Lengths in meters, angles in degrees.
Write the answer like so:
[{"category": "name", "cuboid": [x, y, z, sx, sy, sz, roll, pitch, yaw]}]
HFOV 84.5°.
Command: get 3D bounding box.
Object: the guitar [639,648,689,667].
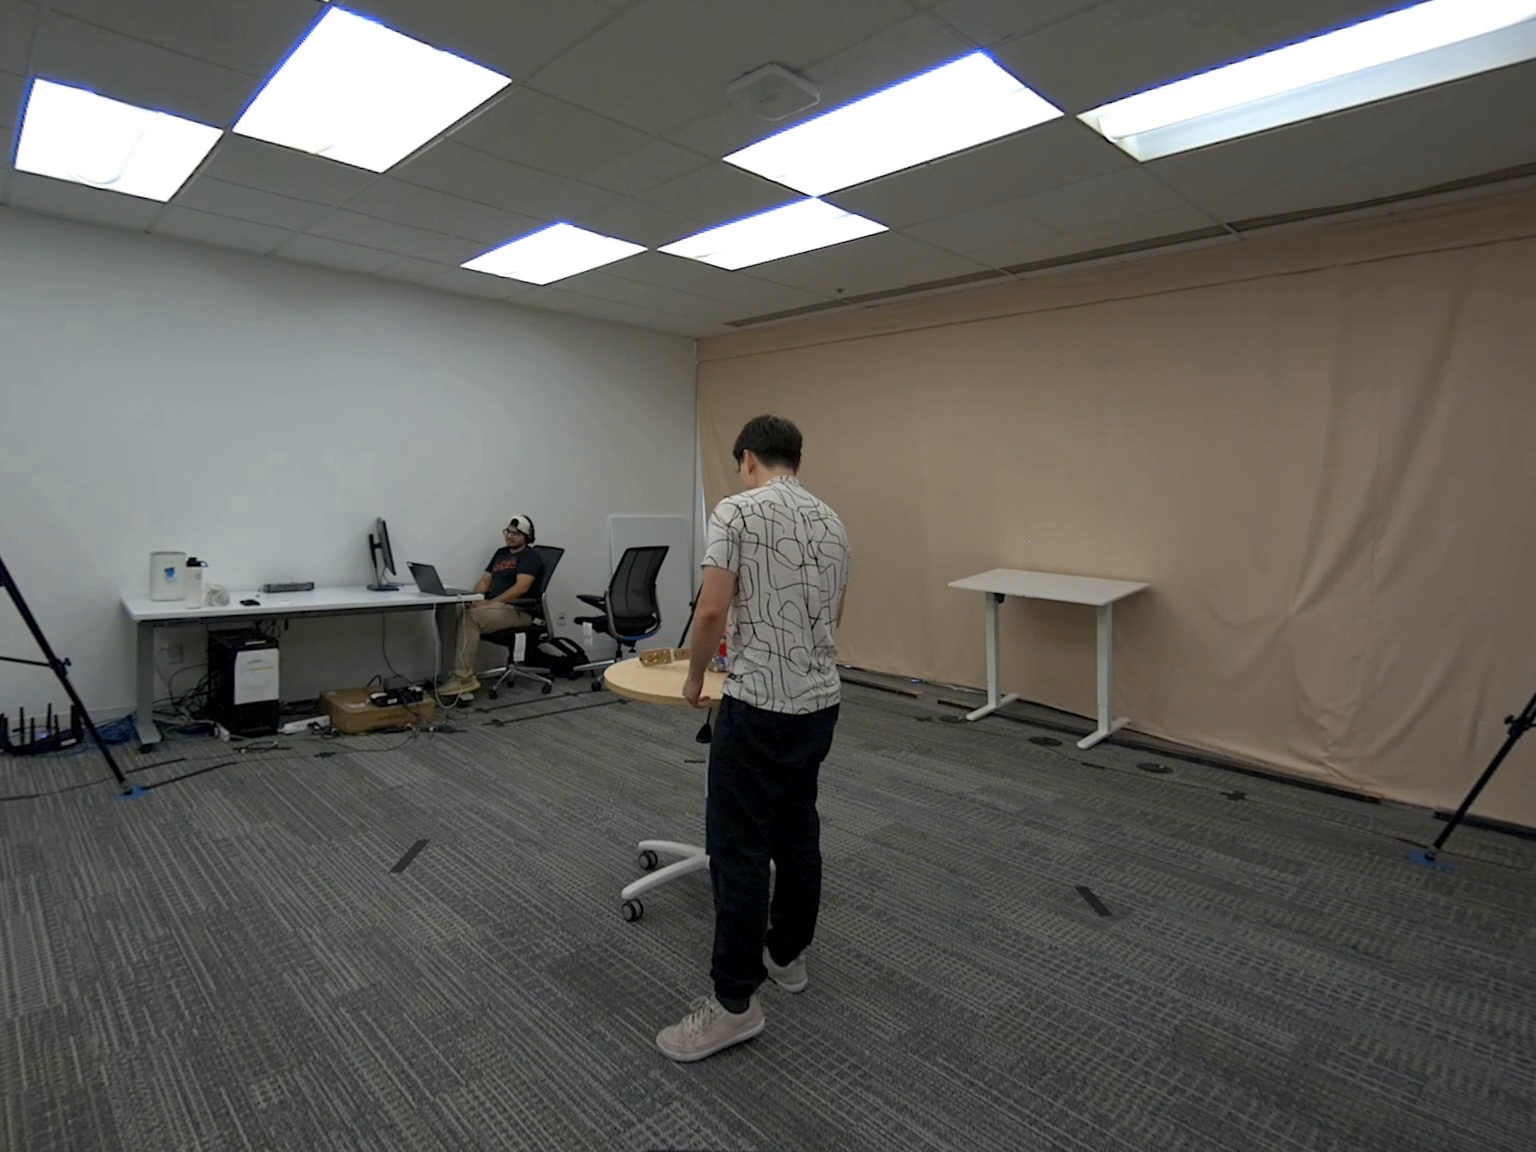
[{"category": "guitar", "cuboid": [-0.219, 0.239, 2.945, 0.504, 0.192, 0.070, 2, 4, 17]}]
